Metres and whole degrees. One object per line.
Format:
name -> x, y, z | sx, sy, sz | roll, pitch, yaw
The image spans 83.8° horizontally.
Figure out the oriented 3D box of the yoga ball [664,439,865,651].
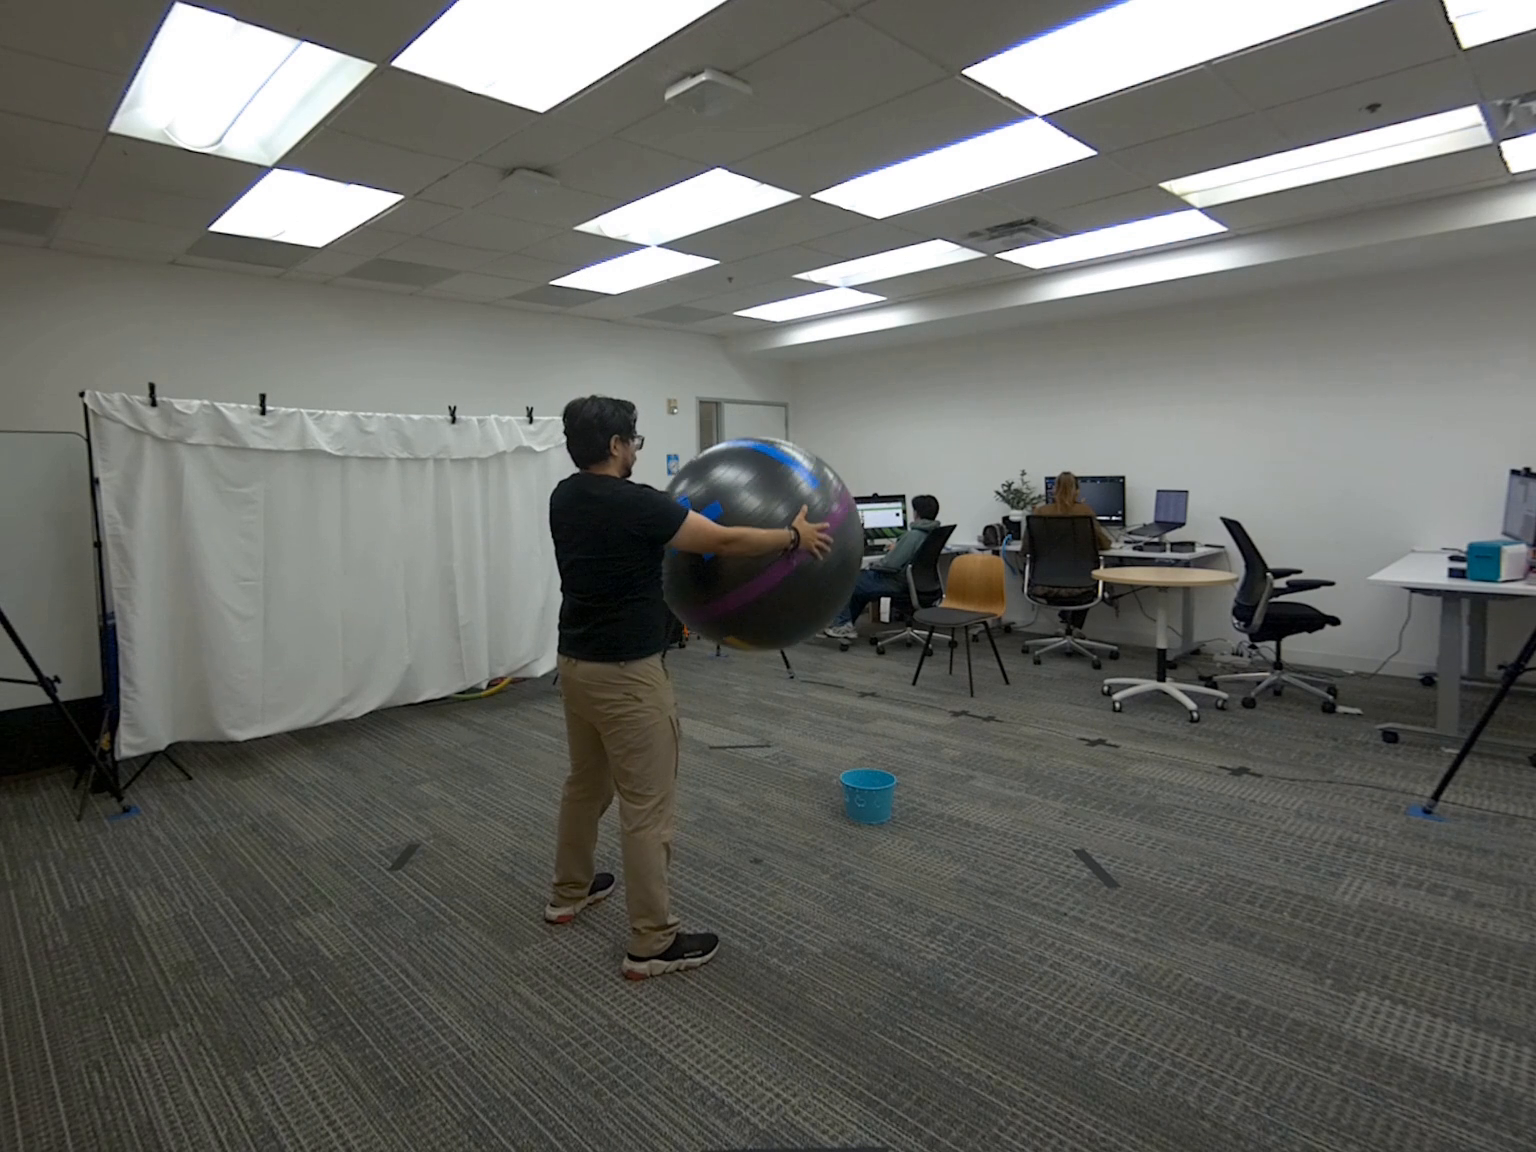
yoga ball -> -0.047, -0.112, 3.032 | 0.757, 0.755, 0.762 | -1, 5, -2
